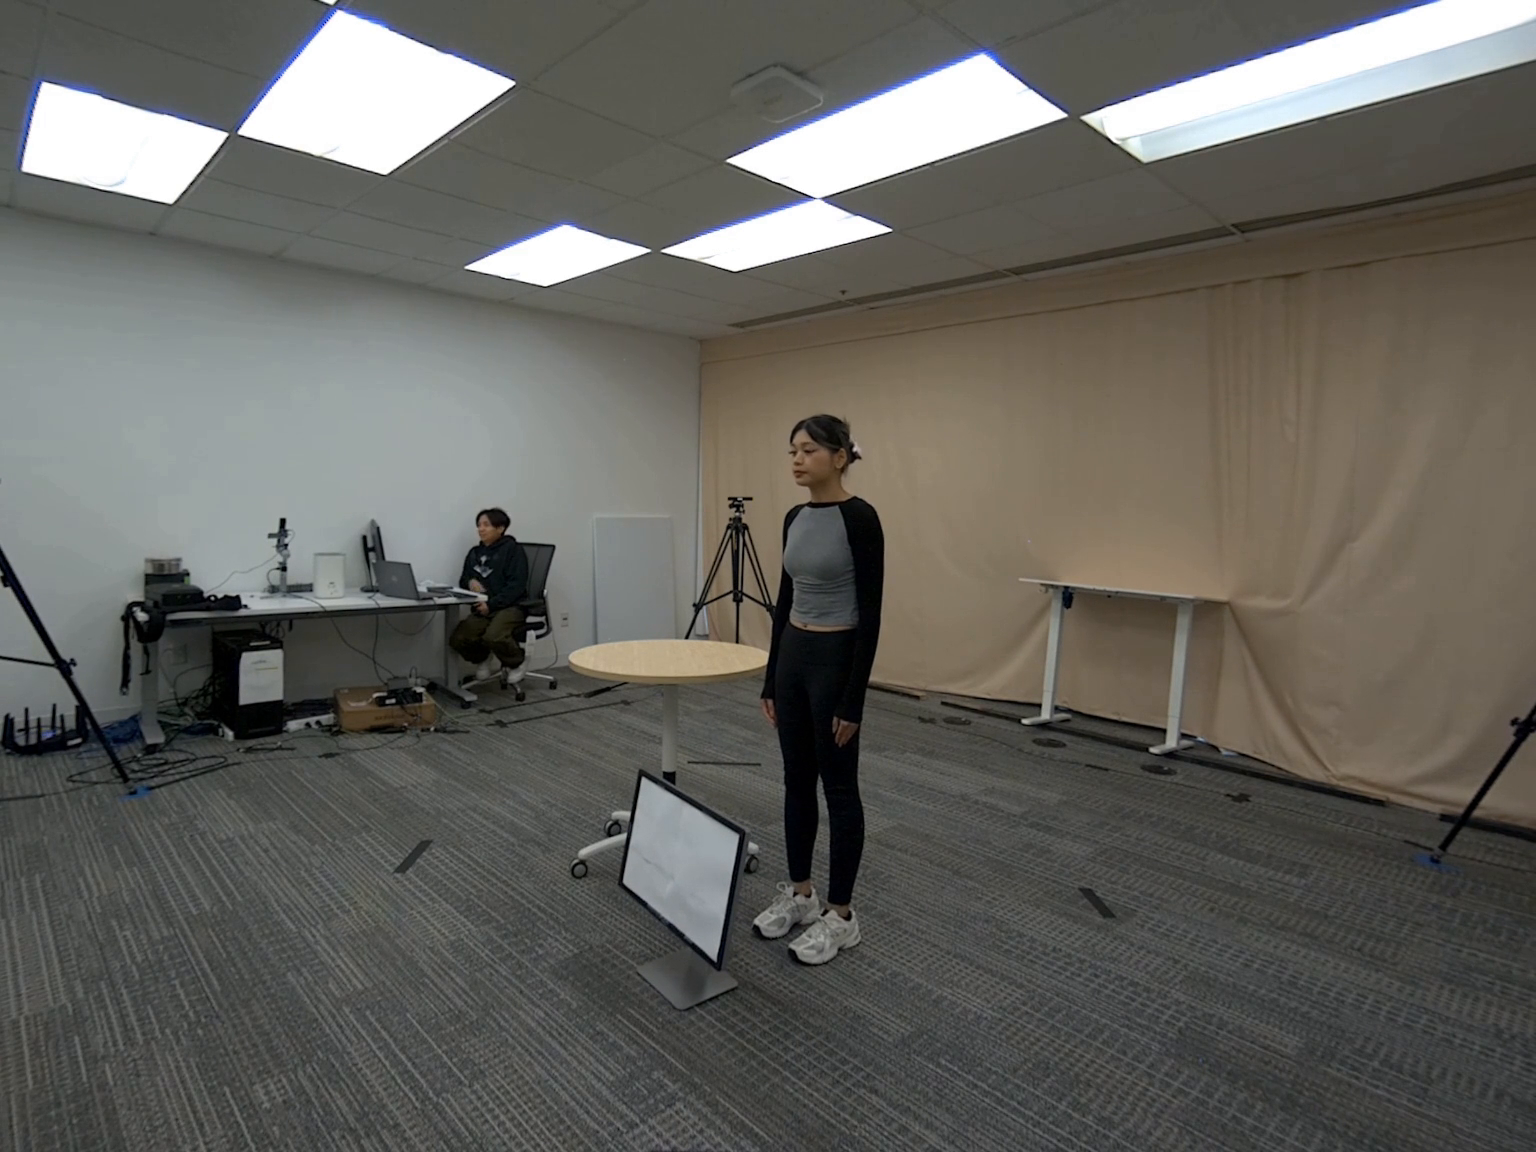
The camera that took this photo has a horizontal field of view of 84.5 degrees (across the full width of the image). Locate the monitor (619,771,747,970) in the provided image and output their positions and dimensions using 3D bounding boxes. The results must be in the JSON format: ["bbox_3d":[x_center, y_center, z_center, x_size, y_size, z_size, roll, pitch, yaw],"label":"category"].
[{"bbox_3d":[-0.233,0.907,2.406,0.183,0.520,0.553,-4,7,-38],"label":"monitor"}]
